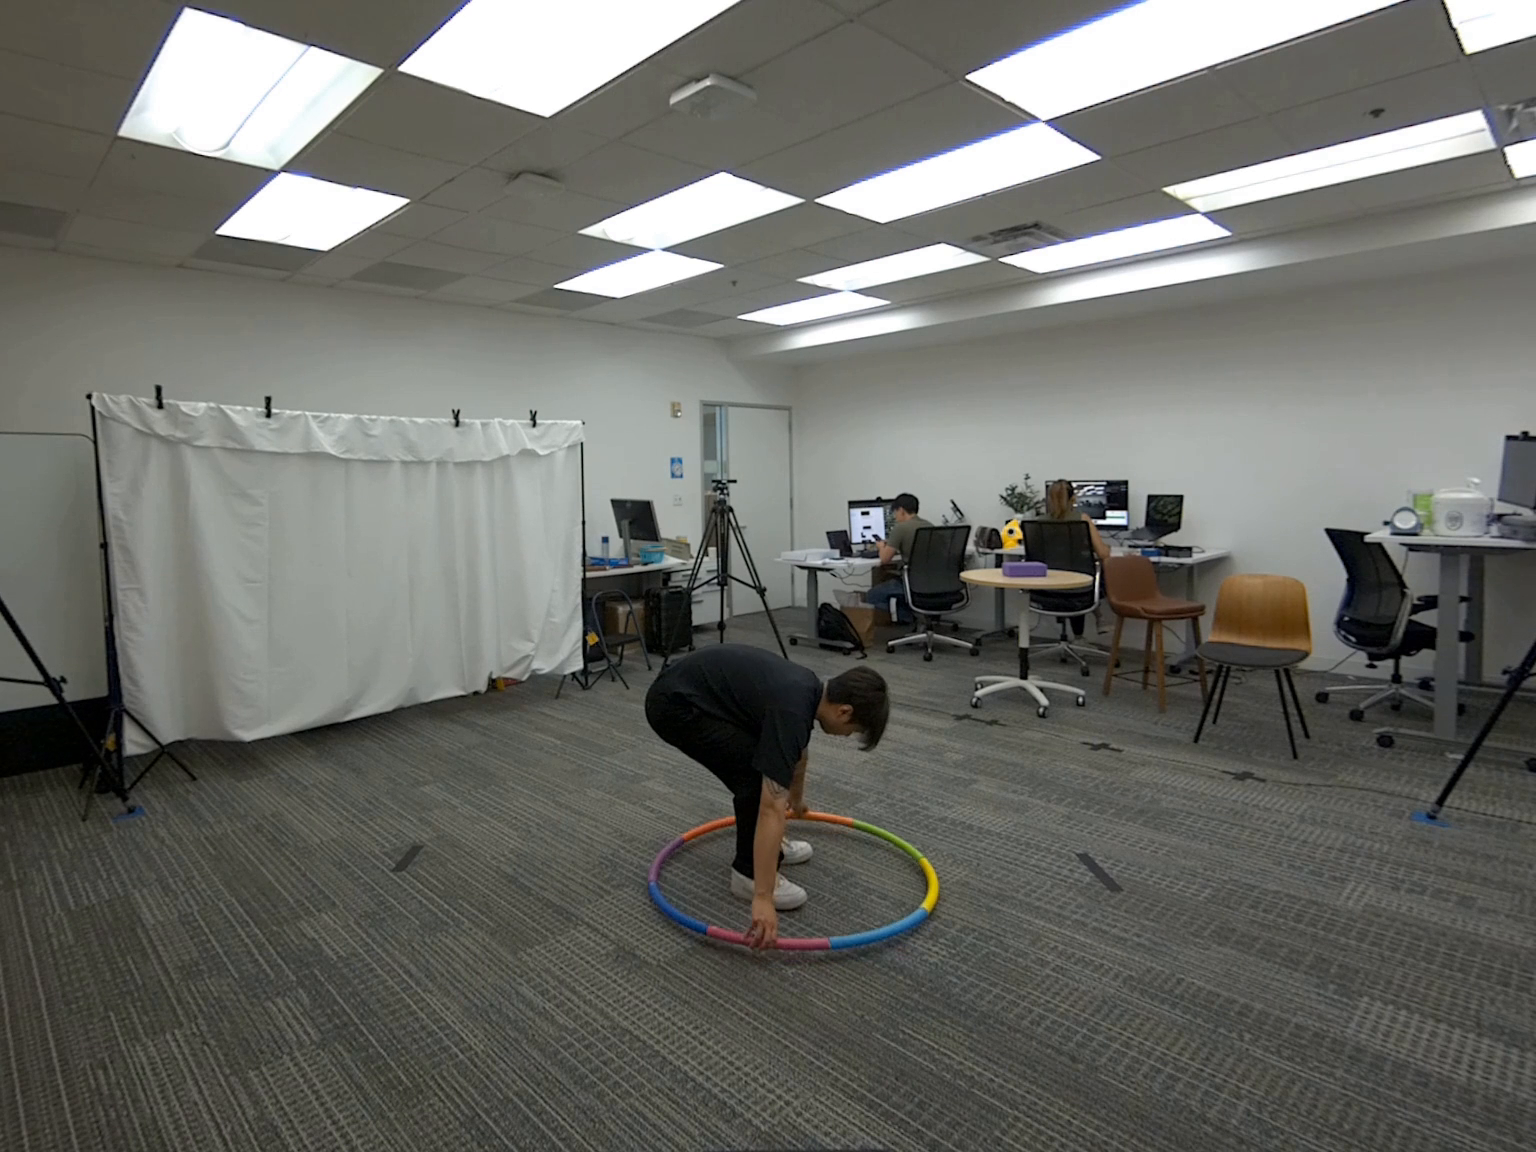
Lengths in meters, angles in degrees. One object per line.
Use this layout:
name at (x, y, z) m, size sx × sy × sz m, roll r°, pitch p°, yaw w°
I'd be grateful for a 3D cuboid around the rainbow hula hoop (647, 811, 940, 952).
rainbow hula hoop at (0.077, 1.007, 2.951) m, size 0.978 × 0.035 × 0.984 m, roll -1°, pitch 7°, yaw -2°
